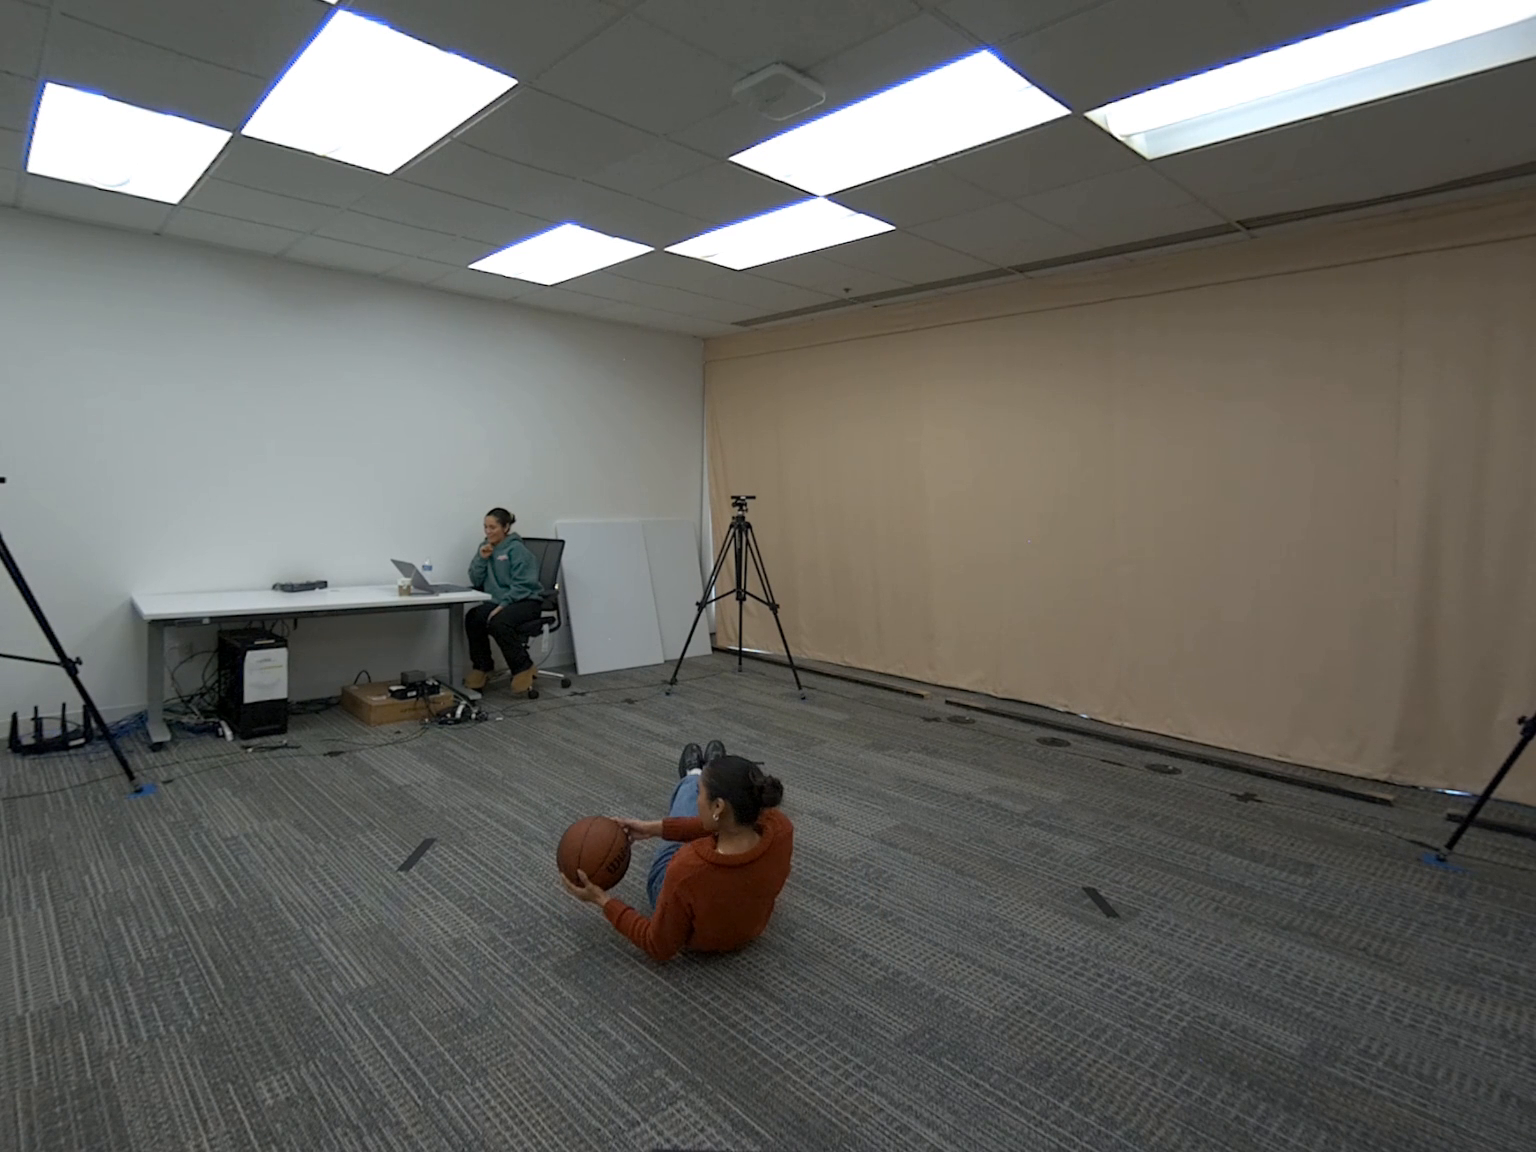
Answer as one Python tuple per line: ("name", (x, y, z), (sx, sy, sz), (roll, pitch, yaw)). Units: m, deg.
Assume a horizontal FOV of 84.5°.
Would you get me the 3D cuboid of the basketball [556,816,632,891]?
("basketball", (-0.559, 0.890, 2.681), (0.236, 0.235, 0.237), (1, 4, -1))
